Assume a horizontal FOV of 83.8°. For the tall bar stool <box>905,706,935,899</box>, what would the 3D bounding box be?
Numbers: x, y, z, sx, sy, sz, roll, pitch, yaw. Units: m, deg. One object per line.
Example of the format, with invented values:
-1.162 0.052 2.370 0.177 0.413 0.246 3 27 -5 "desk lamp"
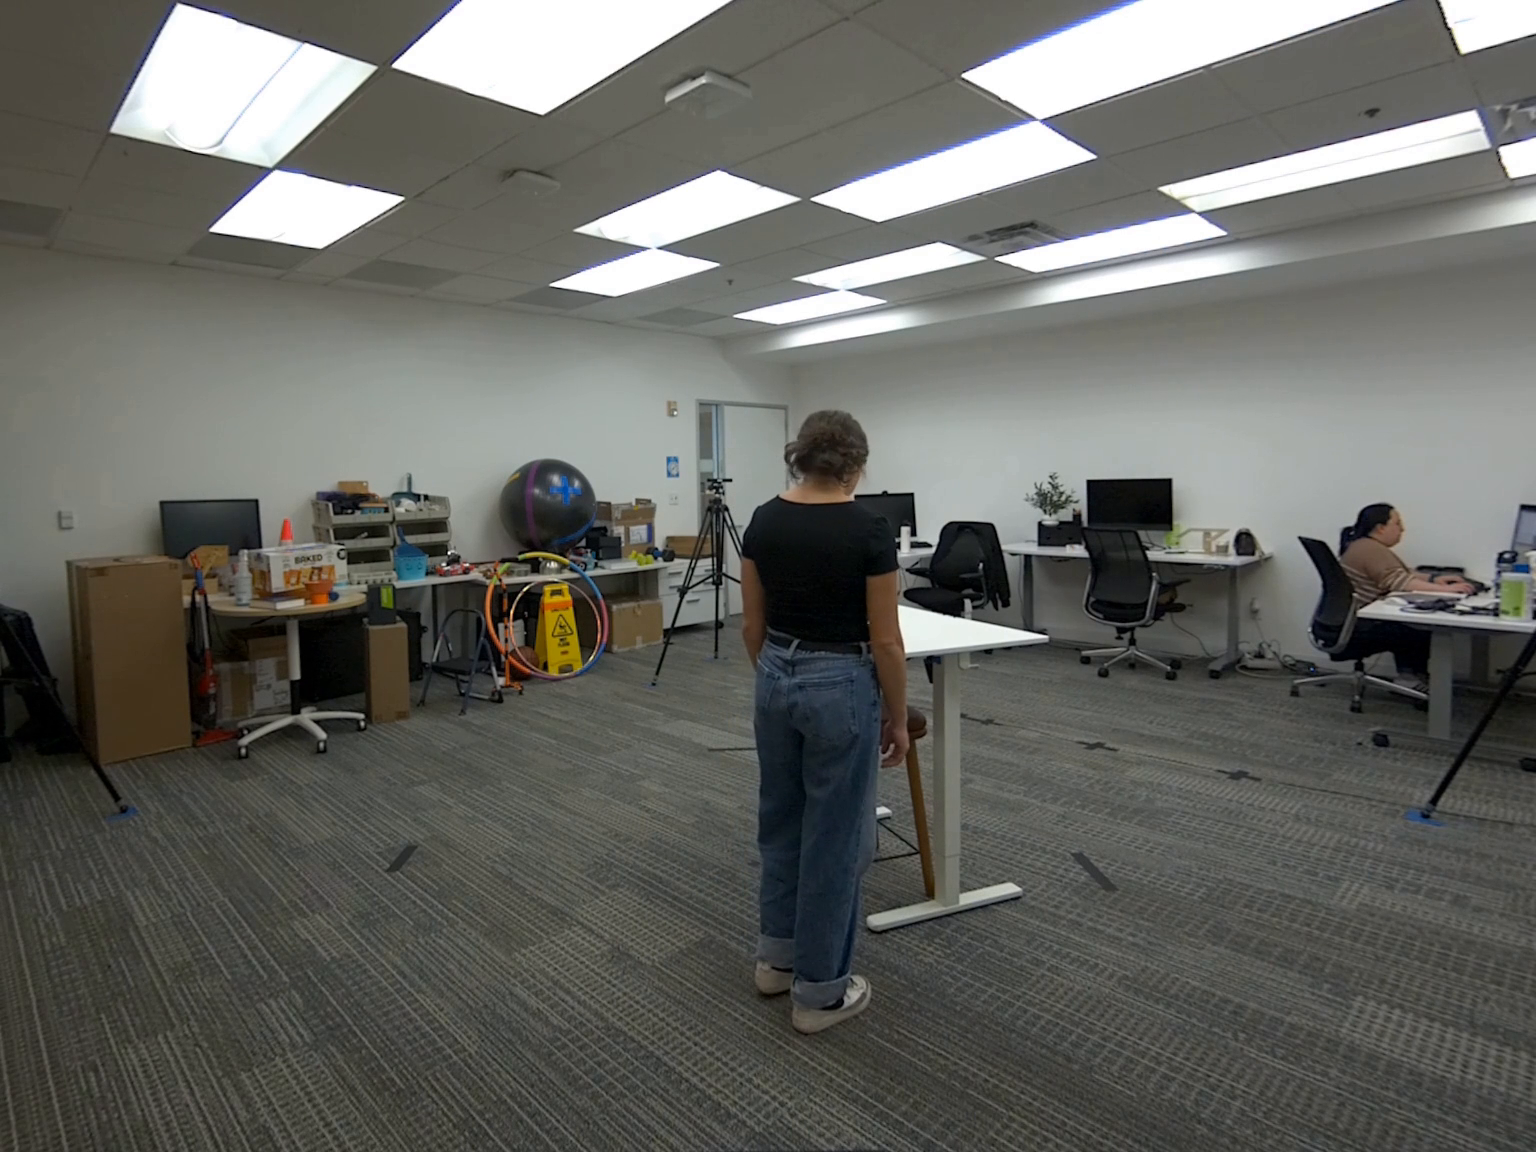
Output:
0.273 0.634 2.921 0.459 0.885 0.467 -5 6 -21 "tall bar stool"
